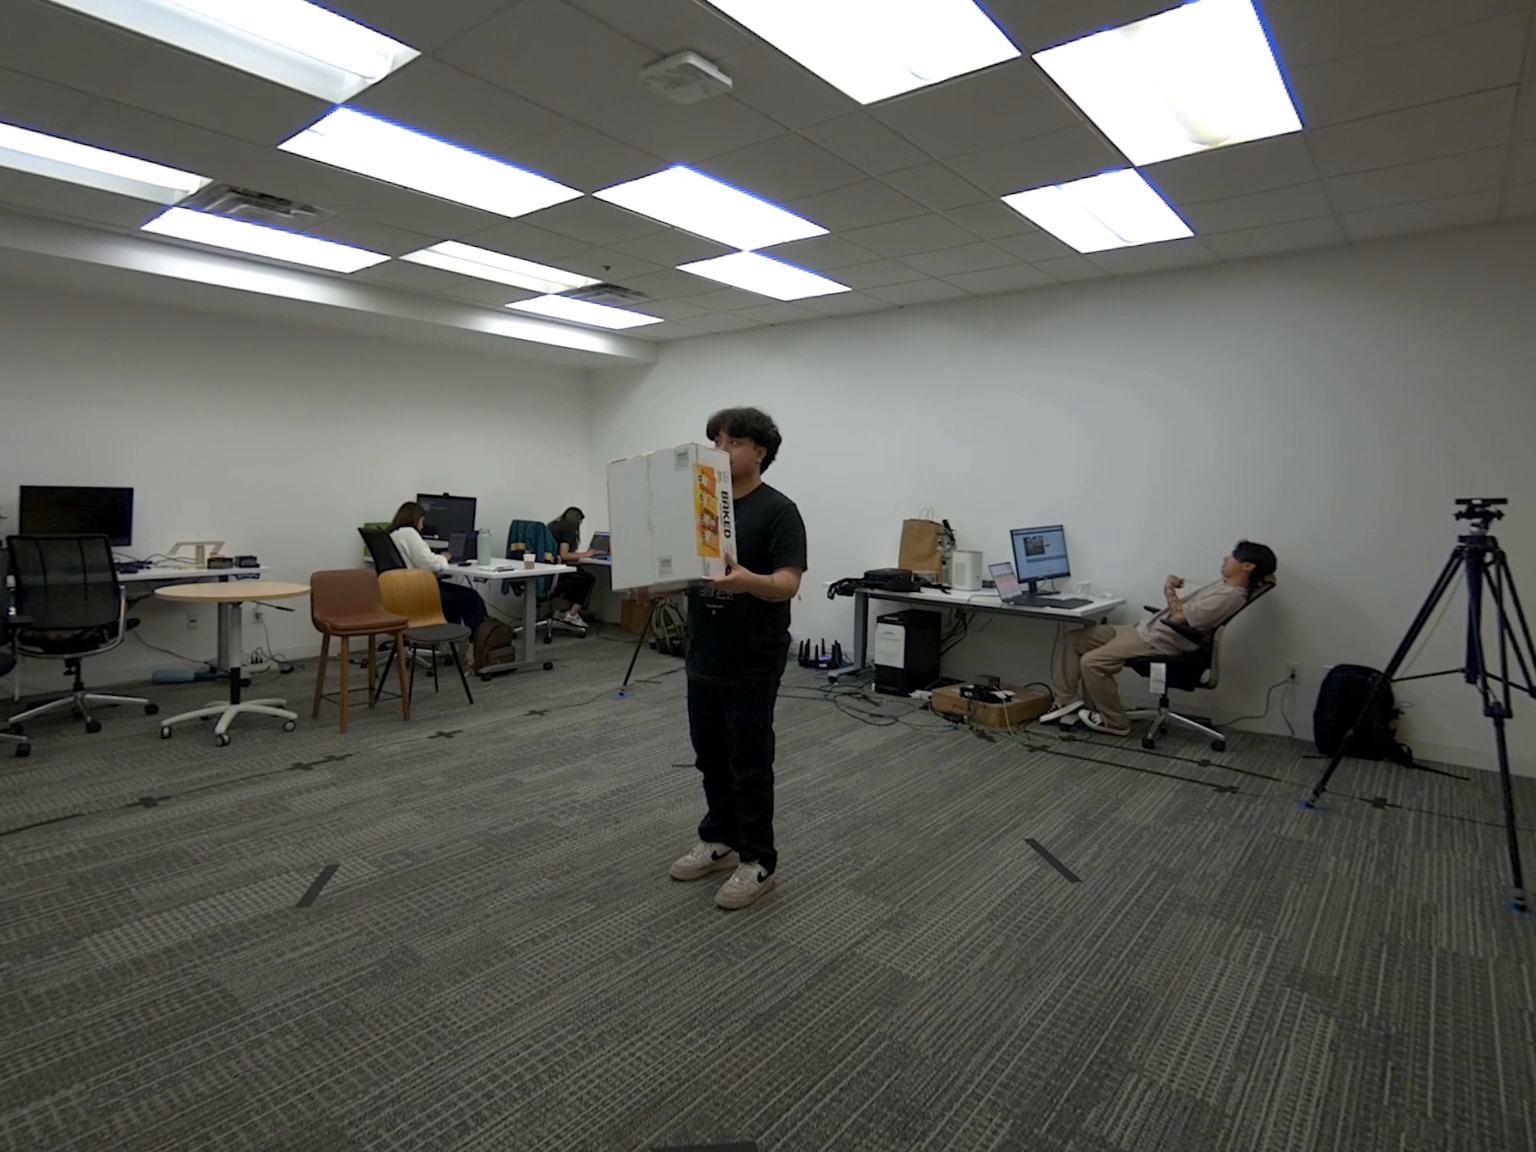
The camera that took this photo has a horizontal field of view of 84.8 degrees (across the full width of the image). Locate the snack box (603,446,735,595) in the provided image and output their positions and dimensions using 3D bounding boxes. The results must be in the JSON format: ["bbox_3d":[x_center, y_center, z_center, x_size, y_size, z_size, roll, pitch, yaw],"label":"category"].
[{"bbox_3d":[-0.312,-0.162,2.635,0.349,0.409,0.199,-8,-9,31],"label":"snack box"}]
